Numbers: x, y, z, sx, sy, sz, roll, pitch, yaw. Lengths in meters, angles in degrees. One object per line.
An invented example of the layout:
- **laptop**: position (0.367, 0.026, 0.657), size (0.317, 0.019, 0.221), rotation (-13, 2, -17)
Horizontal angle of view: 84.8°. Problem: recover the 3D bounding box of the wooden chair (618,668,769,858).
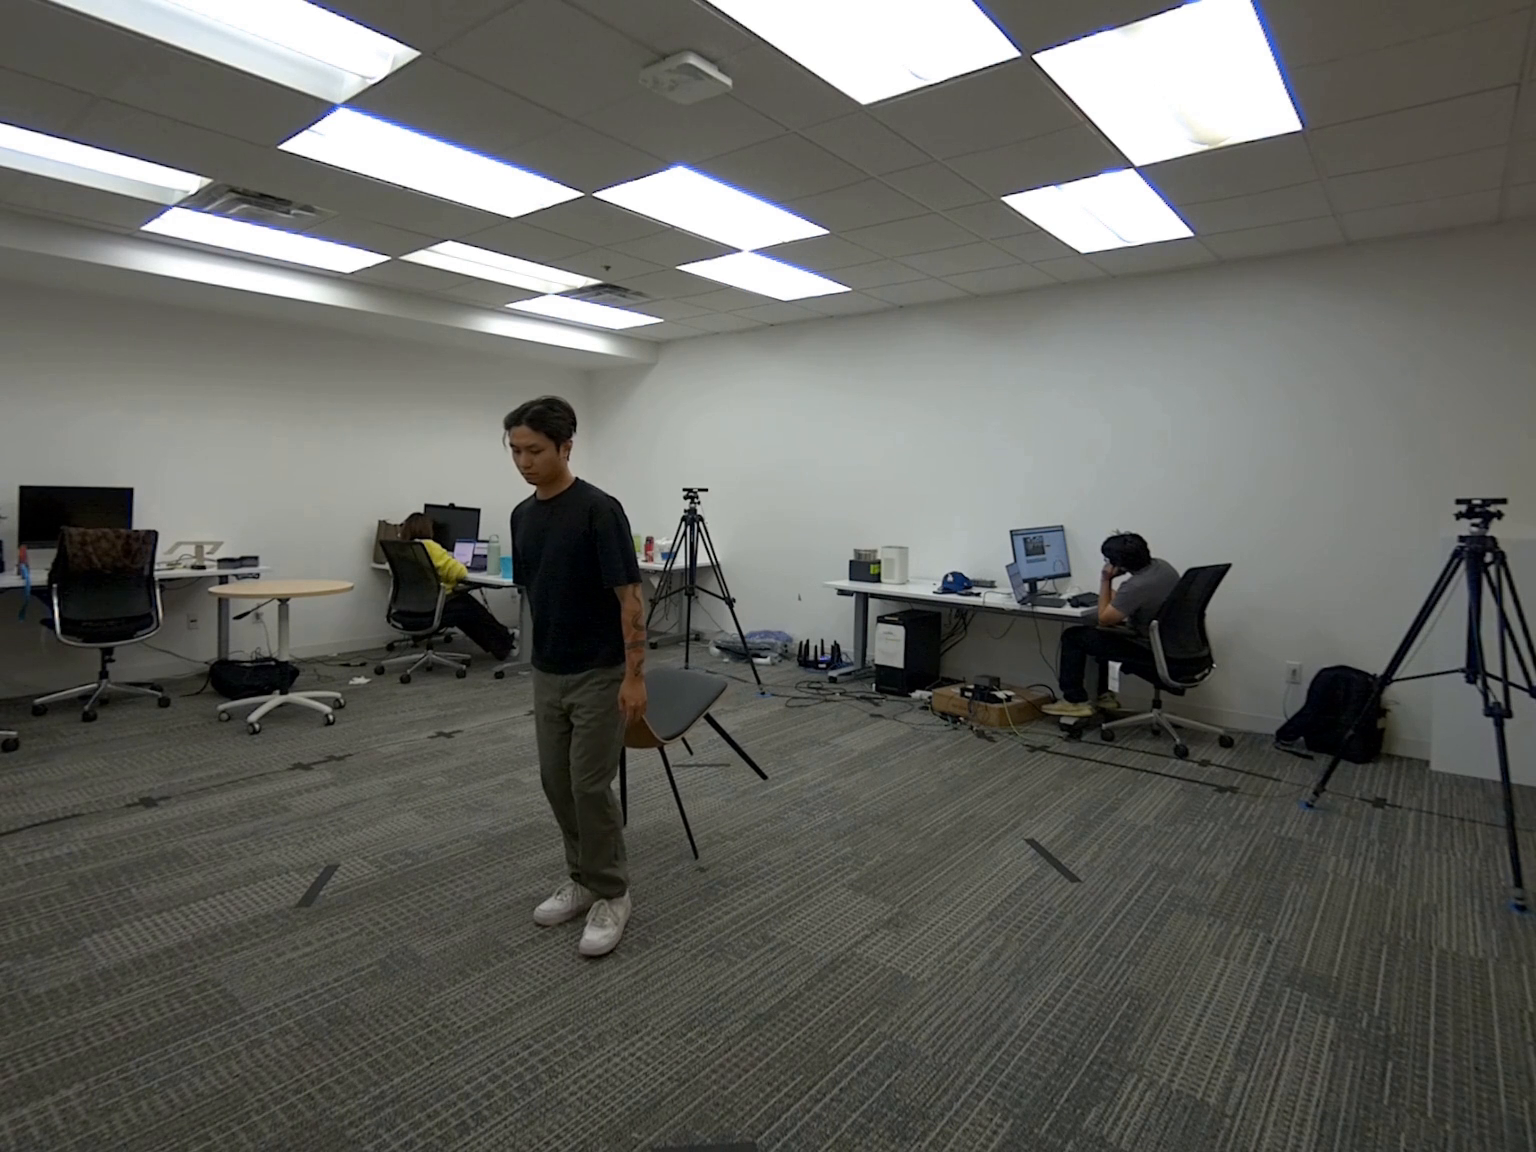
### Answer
- **wooden chair**: position (-0.437, 0.556, 3.317), size (0.494, 0.851, 0.521), rotation (3, 37, 44)
